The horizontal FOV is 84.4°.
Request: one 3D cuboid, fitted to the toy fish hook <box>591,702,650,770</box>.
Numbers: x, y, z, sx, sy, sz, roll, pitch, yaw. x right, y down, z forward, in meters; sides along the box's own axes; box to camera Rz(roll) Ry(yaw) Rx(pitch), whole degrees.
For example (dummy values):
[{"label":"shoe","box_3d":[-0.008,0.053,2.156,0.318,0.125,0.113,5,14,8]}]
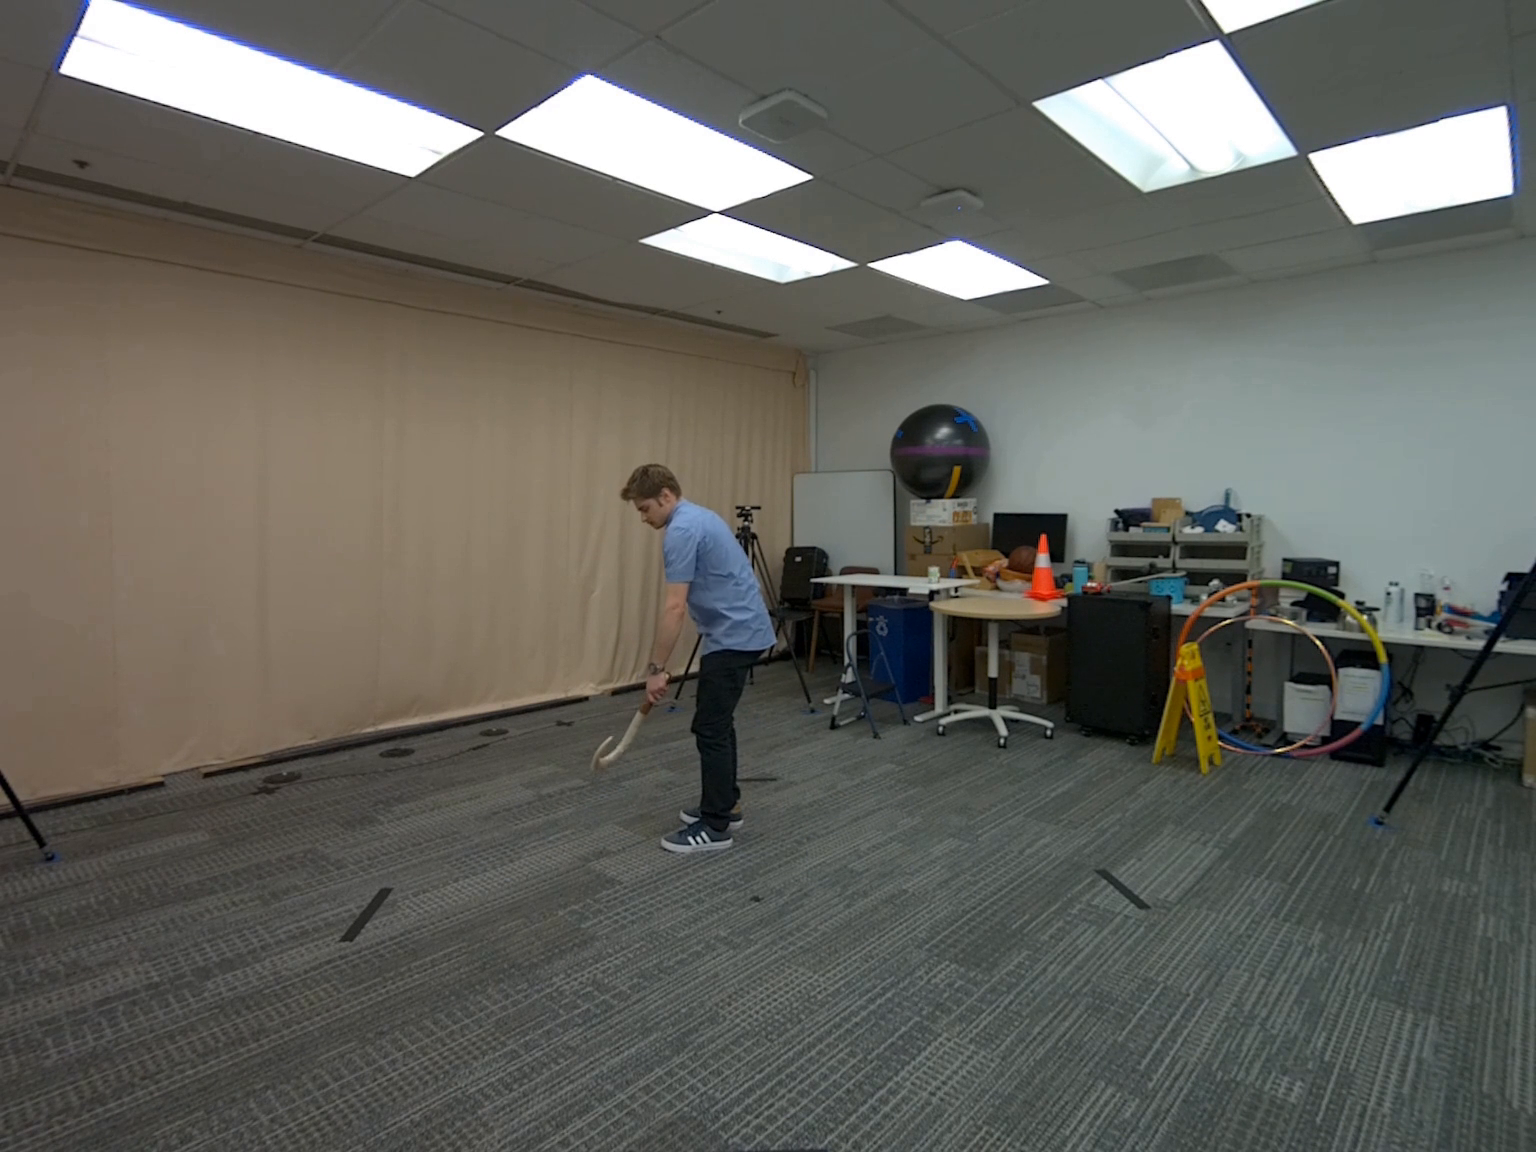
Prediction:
[{"label":"toy fish hook","box_3d":[-0.560,0.599,3.430,0.049,0.507,0.219,38,10,18]}]
